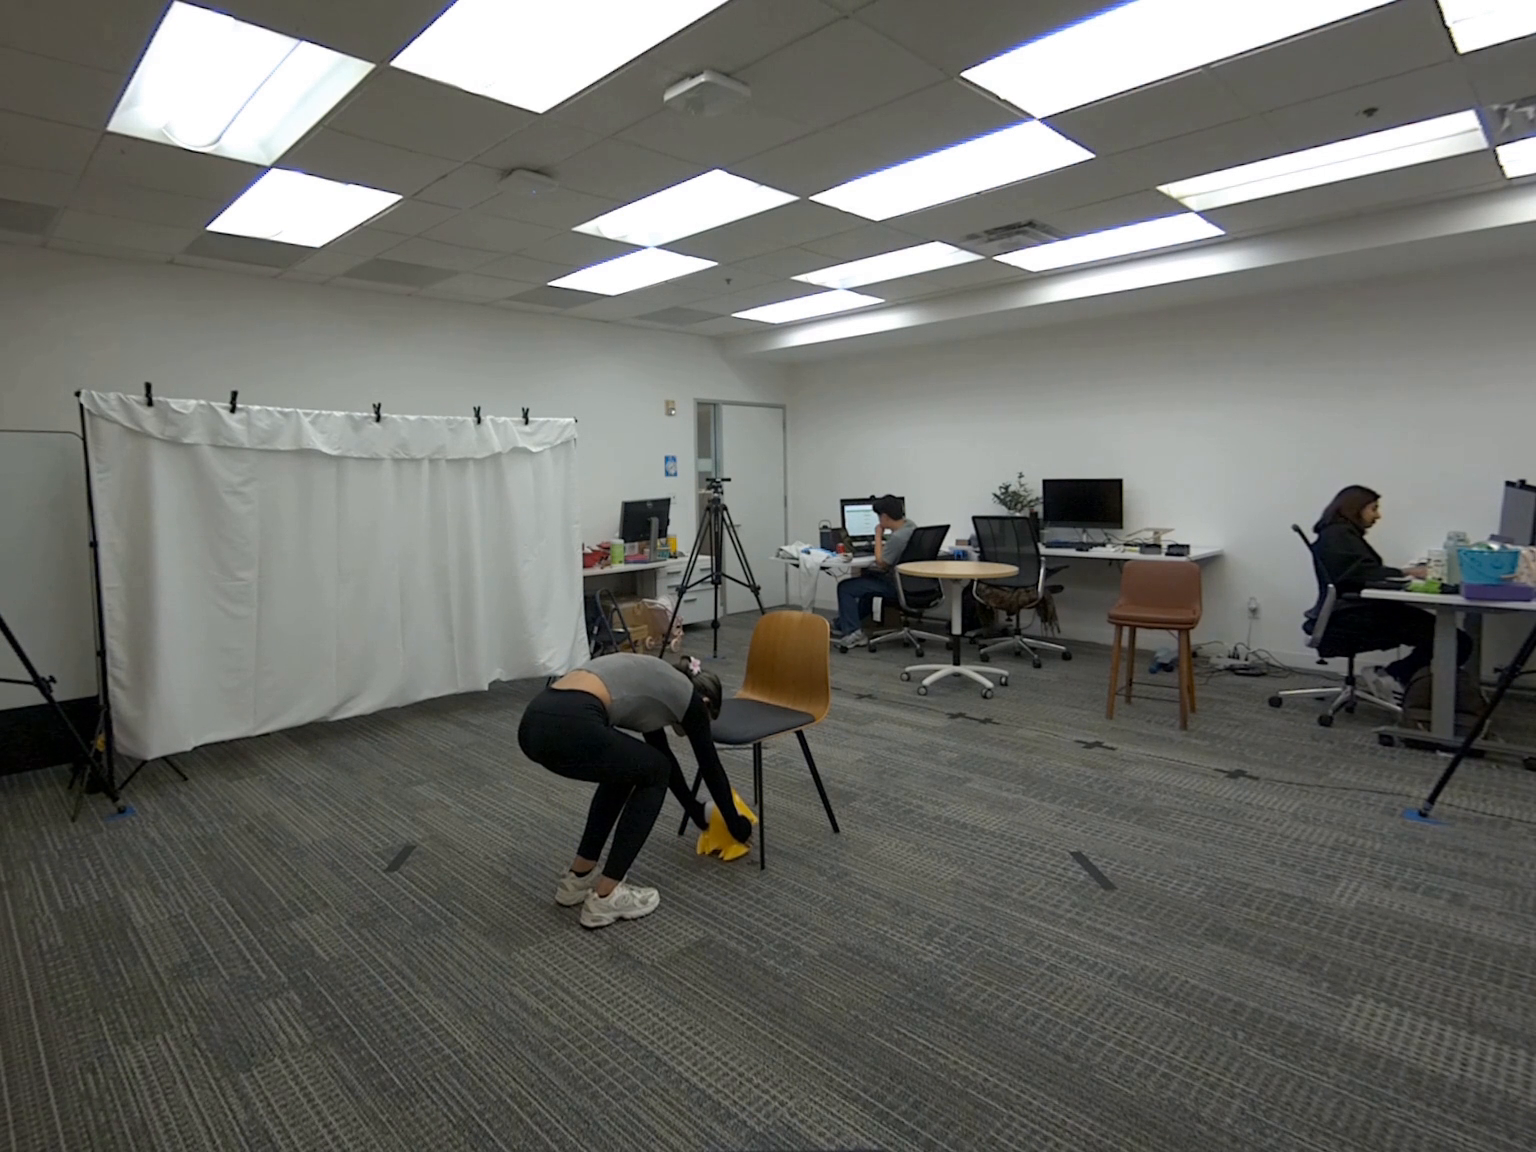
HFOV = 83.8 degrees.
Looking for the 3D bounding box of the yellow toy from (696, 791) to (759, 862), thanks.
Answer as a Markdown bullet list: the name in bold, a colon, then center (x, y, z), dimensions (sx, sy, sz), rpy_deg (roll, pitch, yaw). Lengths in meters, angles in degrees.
- **yellow toy**: center (-0.171, 0.911, 3.201), dimensions (0.210, 0.229, 0.189), rpy_deg (-3, 8, 36)
